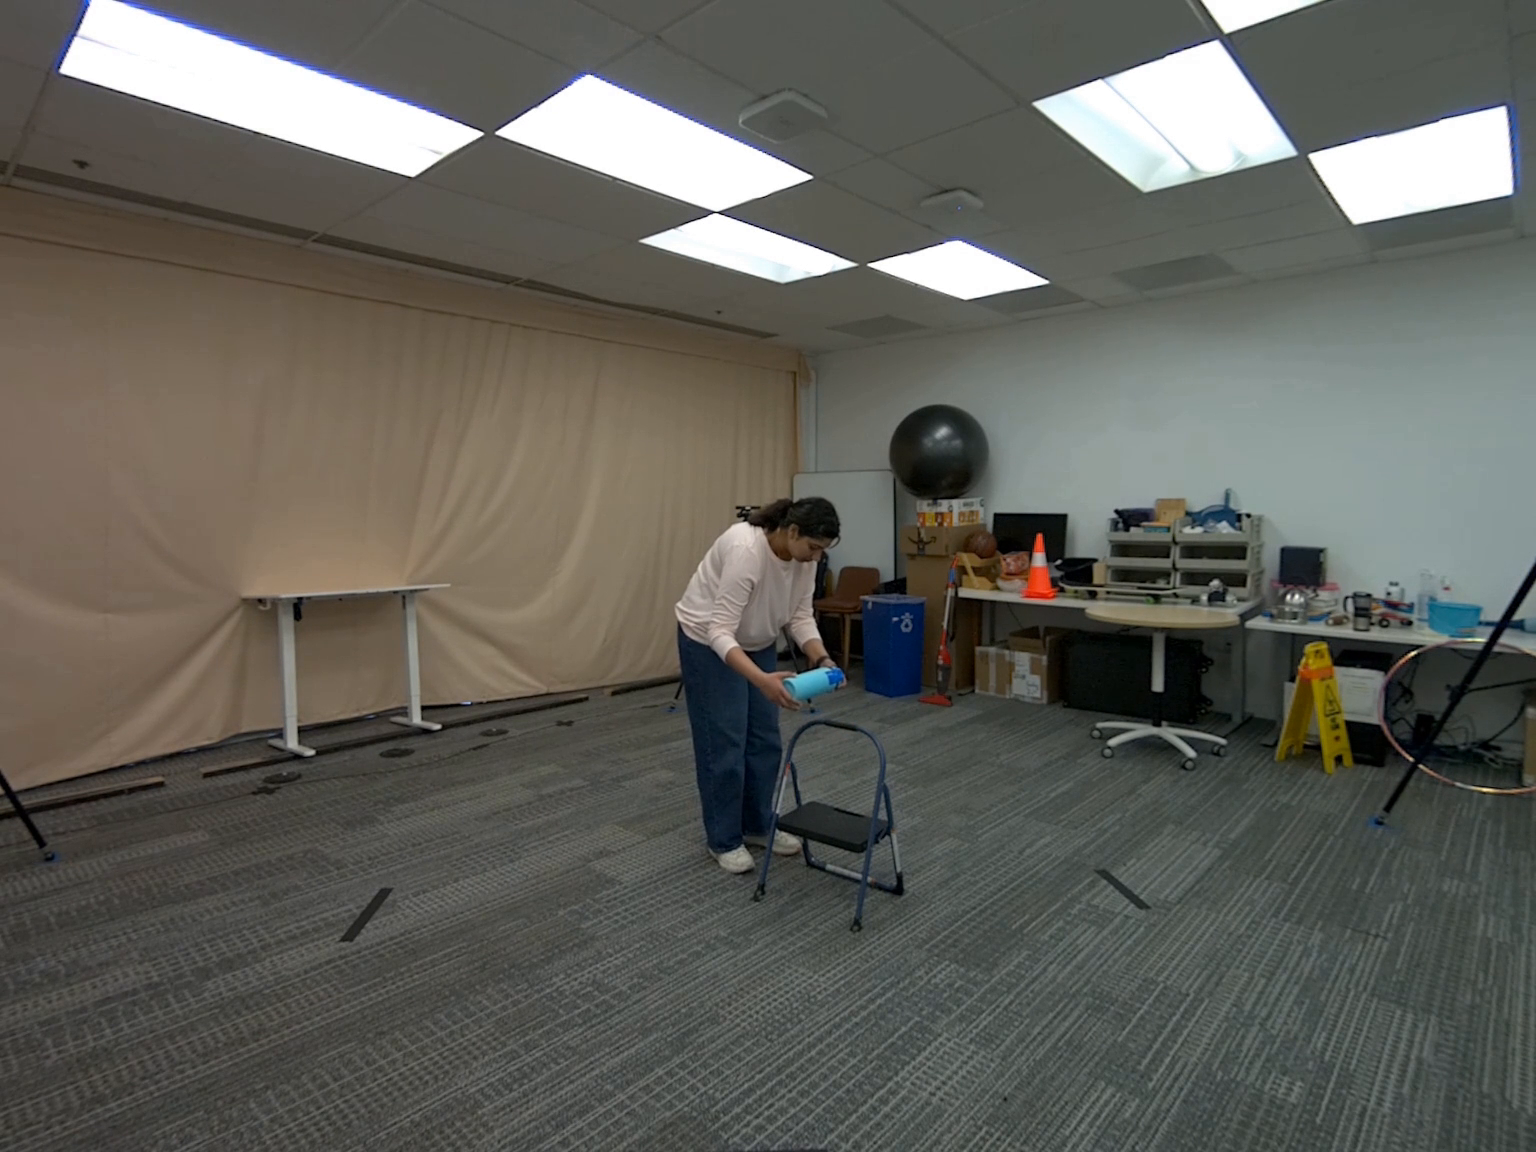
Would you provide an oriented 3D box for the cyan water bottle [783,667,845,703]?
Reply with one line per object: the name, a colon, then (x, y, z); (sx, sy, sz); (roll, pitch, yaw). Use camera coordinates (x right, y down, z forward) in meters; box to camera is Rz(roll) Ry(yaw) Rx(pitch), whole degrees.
cyan water bottle: (0.162, 0.380, 2.943); (0.275, 0.092, 0.095); (-9, 9, -43)
